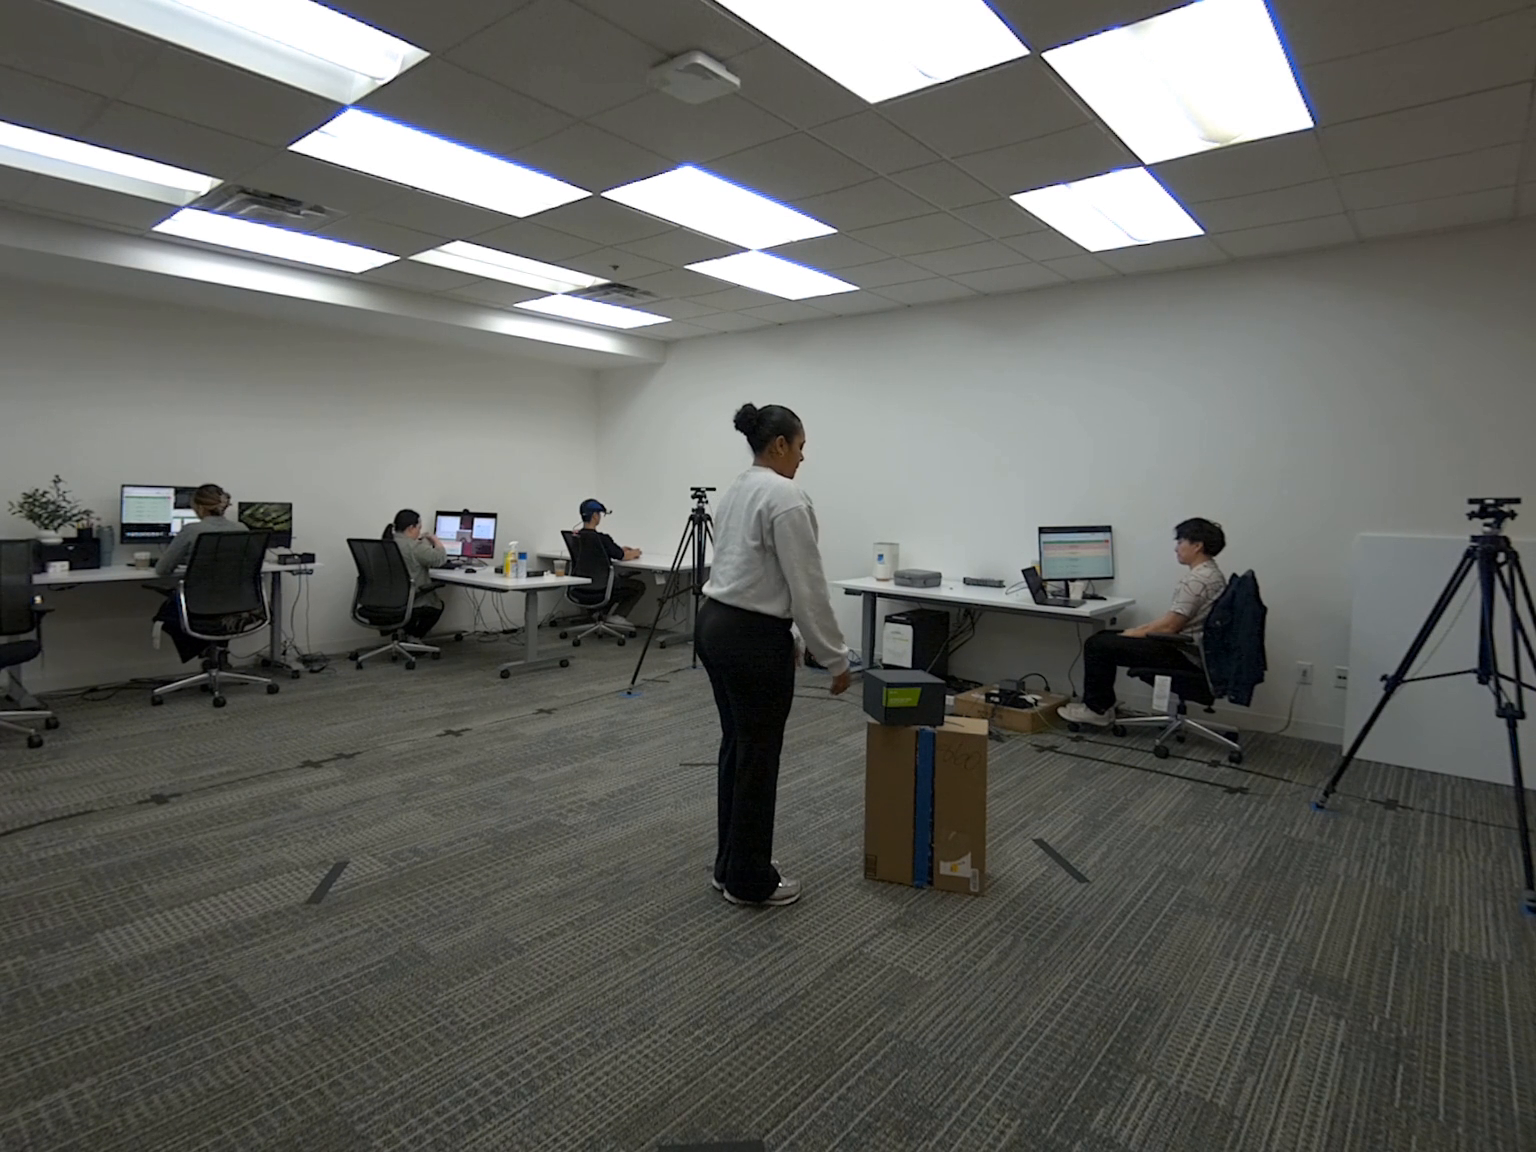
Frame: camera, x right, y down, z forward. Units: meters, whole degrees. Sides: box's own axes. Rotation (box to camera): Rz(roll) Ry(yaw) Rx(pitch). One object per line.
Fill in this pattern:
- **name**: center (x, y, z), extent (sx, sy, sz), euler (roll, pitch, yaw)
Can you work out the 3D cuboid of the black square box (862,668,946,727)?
- **black square box**: center (0.491, 0.439, 3.093), extent (0.224, 0.155, 0.221), euler (2, 4, -14)
